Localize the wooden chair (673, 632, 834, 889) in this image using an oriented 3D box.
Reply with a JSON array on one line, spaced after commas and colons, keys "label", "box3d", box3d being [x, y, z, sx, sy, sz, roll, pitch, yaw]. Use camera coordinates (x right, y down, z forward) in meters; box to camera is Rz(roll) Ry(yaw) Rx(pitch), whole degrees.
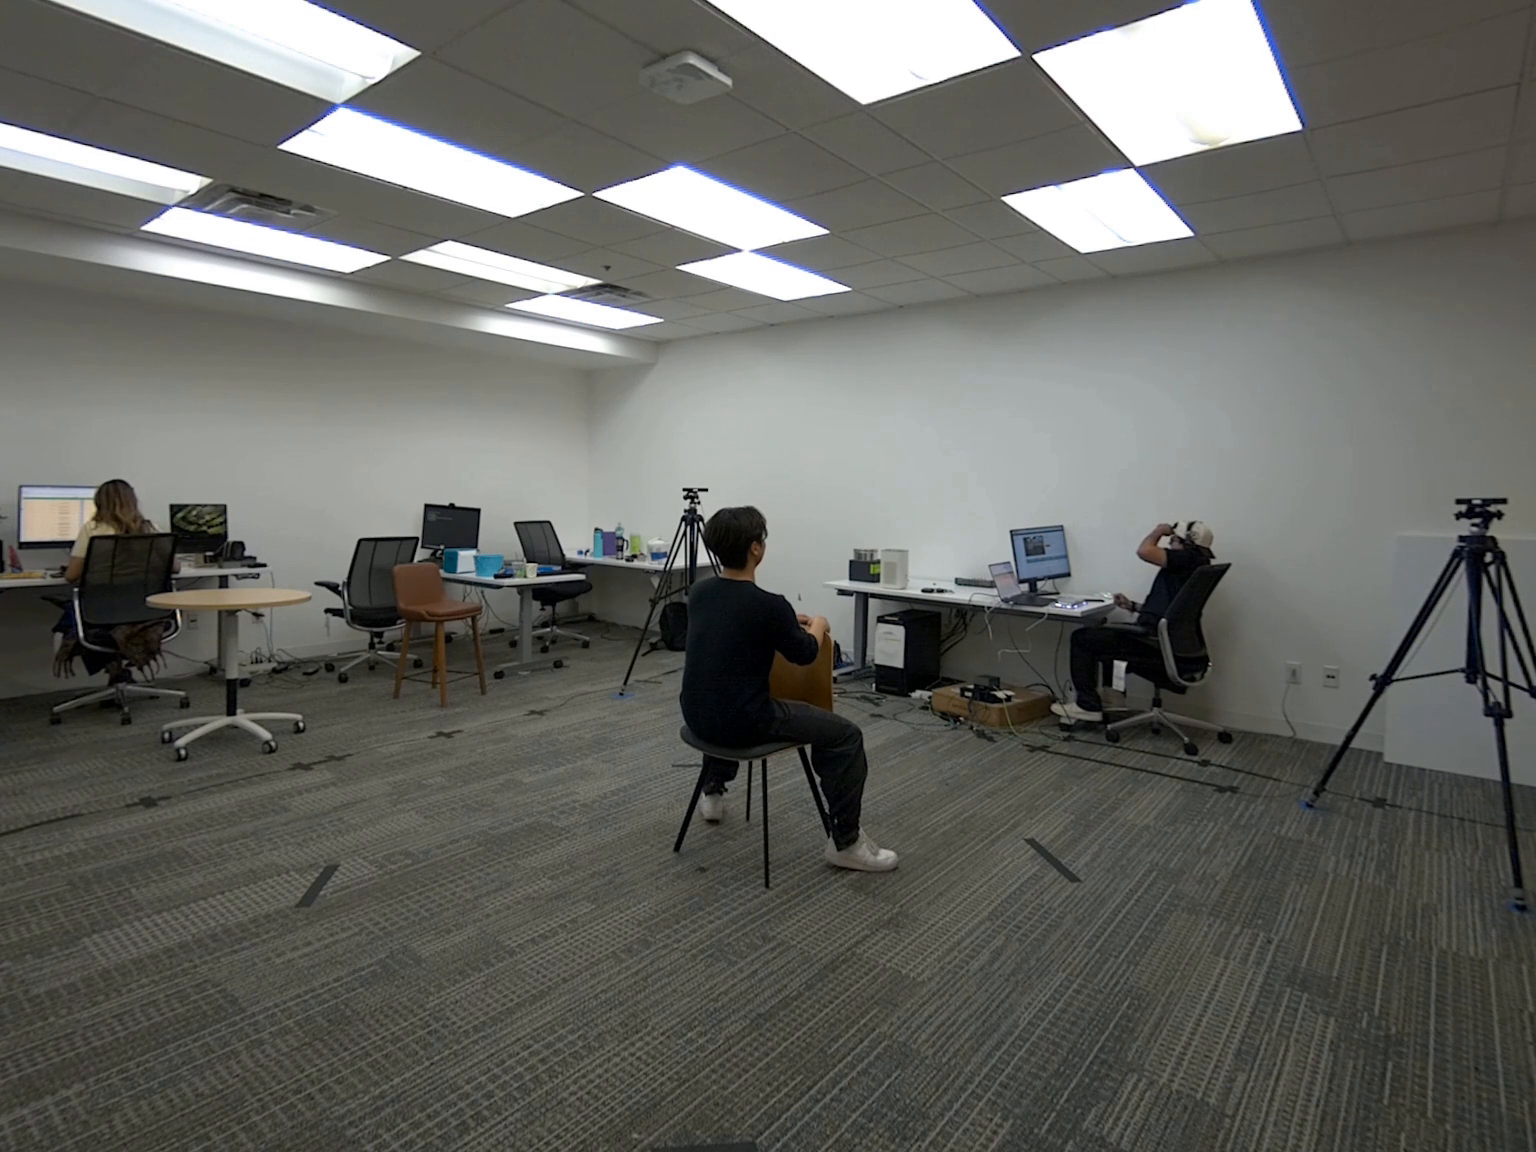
[{"label": "wooden chair", "box3d": [-0.052, 0.626, 3.242, 0.494, 0.877, 0.506, 4, 1, 40]}]
